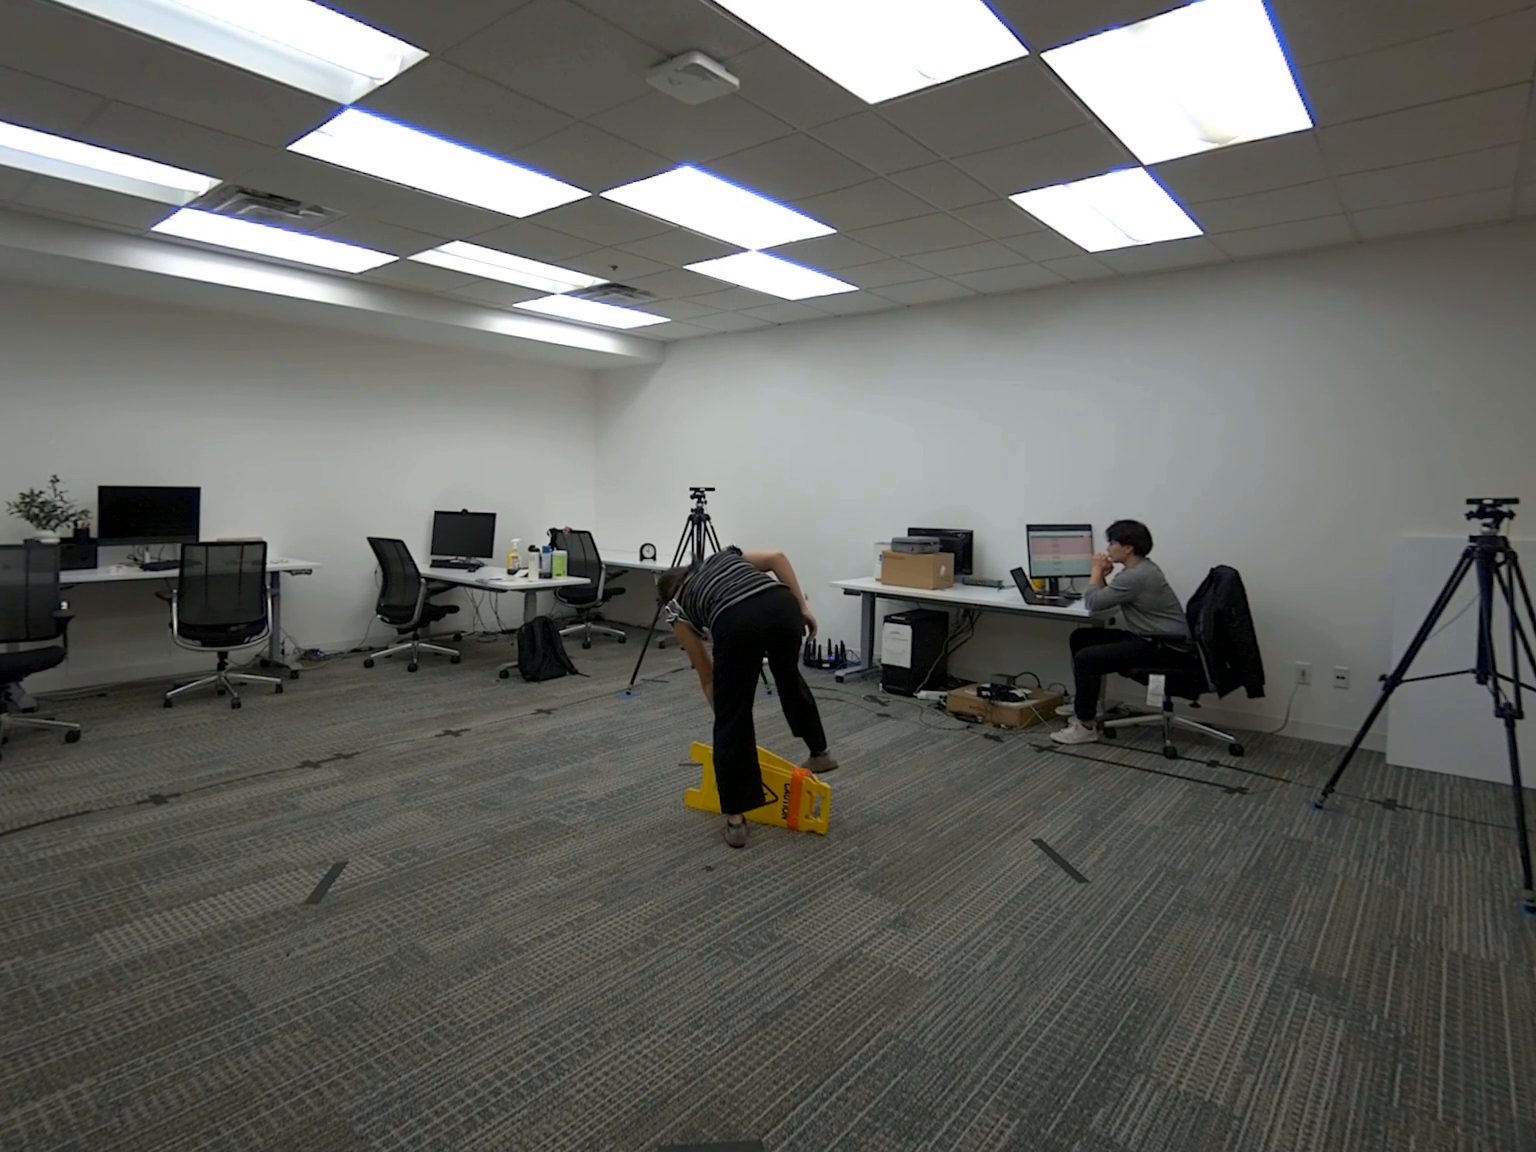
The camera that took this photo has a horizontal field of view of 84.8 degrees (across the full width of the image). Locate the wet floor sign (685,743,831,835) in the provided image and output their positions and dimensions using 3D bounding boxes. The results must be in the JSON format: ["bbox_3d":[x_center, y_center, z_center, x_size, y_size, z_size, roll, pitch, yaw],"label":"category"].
[{"bbox_3d":[-0.028,0.896,3.624,0.668,0.281,0.281,9,6,36],"label":"wet floor sign"}]
